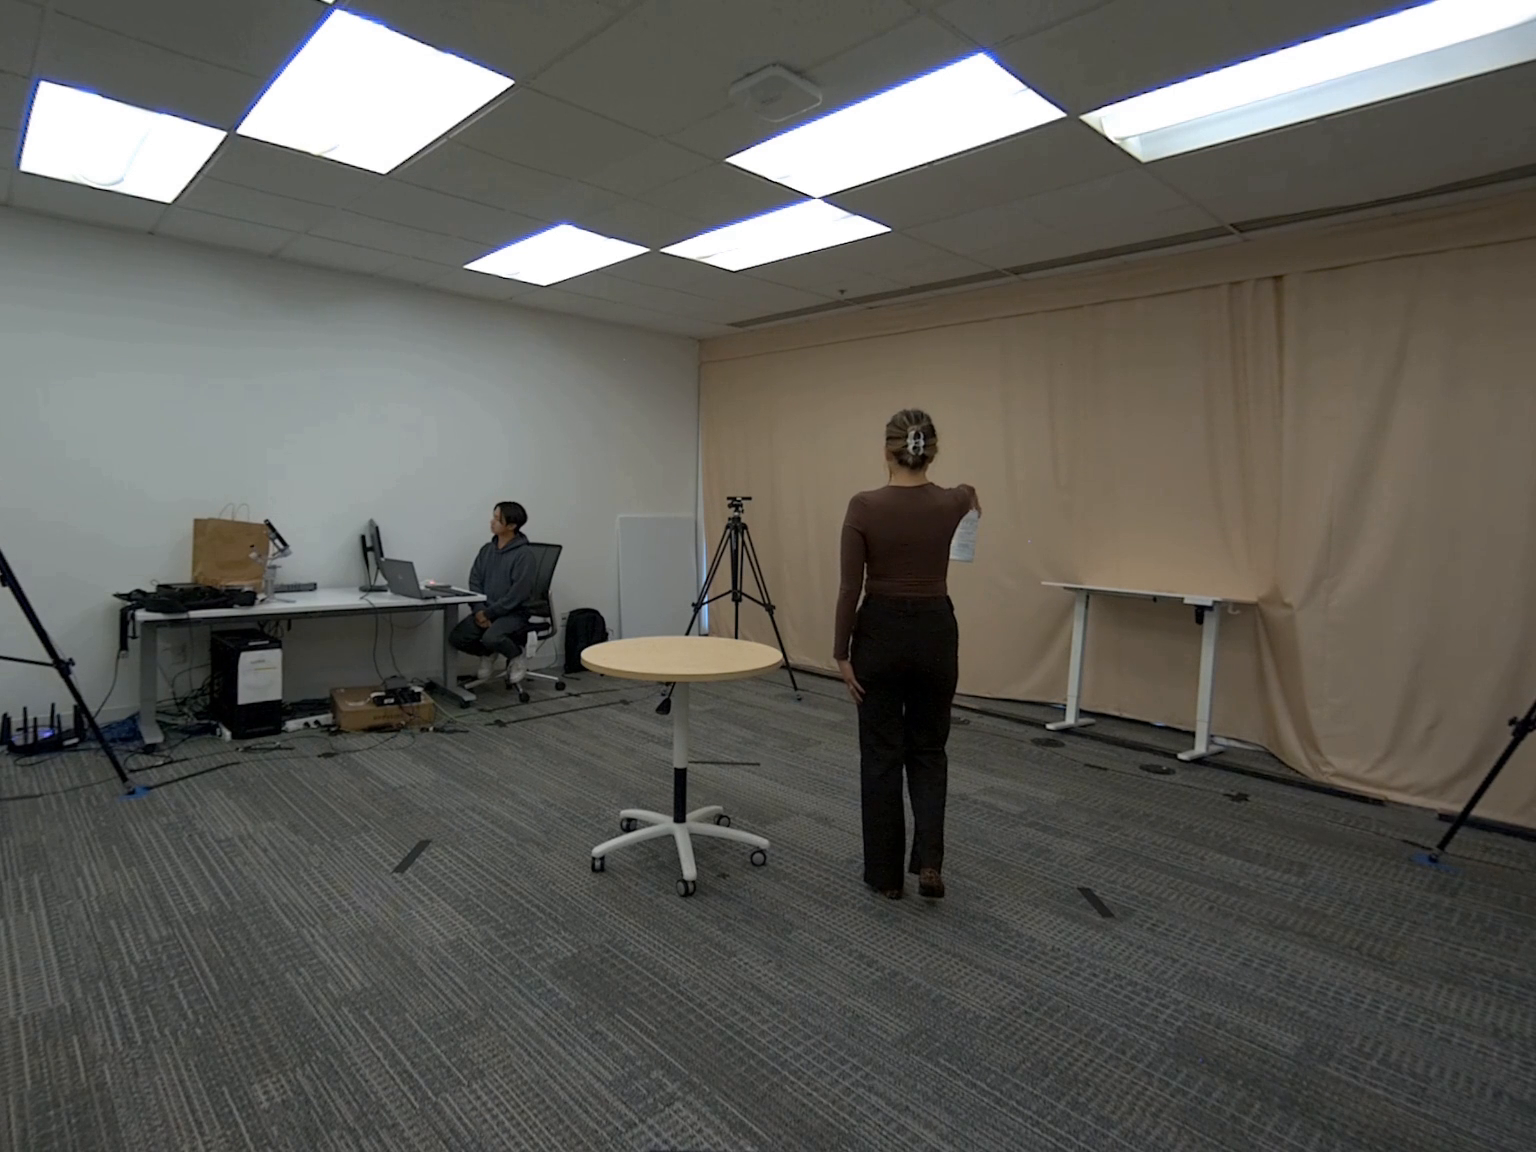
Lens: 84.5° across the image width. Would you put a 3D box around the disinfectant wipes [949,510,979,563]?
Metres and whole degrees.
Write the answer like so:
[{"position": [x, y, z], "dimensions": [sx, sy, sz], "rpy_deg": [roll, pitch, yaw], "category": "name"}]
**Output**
[{"position": [0.810, -0.168, 3.502], "dimensions": [0.118, 0.217, 0.118], "rpy_deg": [5, 3, -2], "category": "disinfectant wipes"}]
